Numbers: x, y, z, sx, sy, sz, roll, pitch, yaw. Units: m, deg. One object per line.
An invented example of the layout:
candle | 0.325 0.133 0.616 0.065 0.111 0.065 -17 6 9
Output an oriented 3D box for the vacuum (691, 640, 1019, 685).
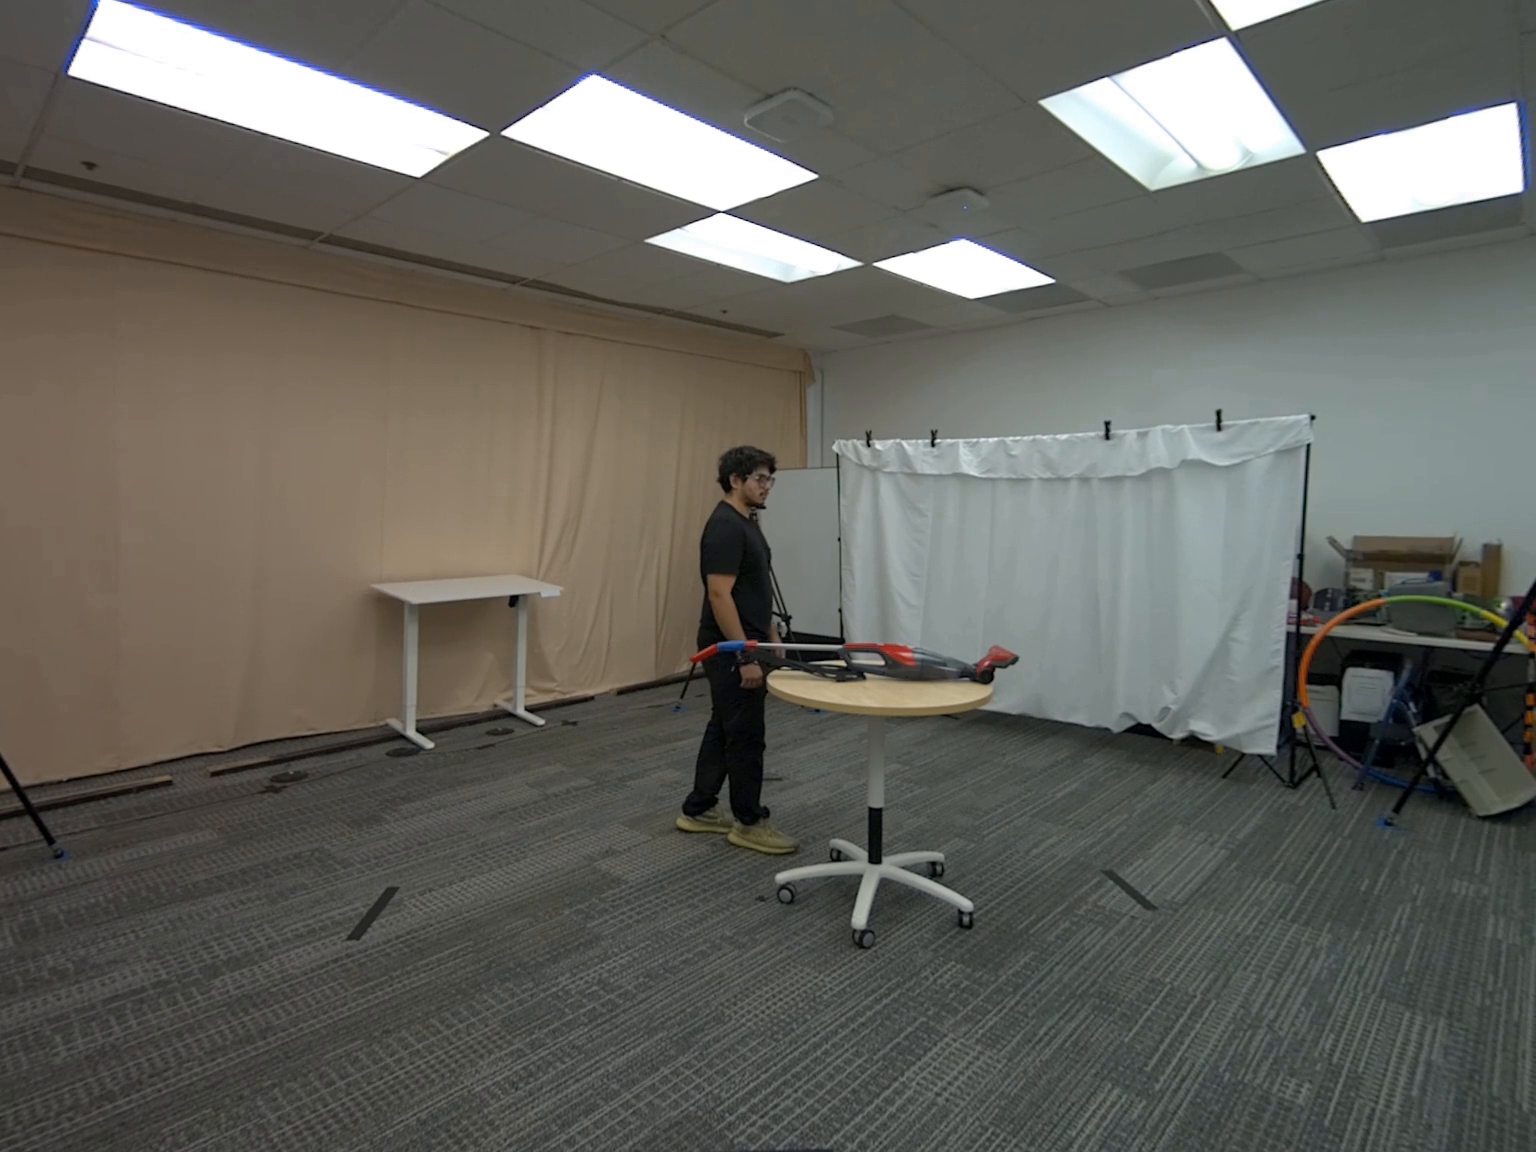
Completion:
vacuum | 0.272 0.300 2.954 1.054 0.143 0.252 2 6 4
